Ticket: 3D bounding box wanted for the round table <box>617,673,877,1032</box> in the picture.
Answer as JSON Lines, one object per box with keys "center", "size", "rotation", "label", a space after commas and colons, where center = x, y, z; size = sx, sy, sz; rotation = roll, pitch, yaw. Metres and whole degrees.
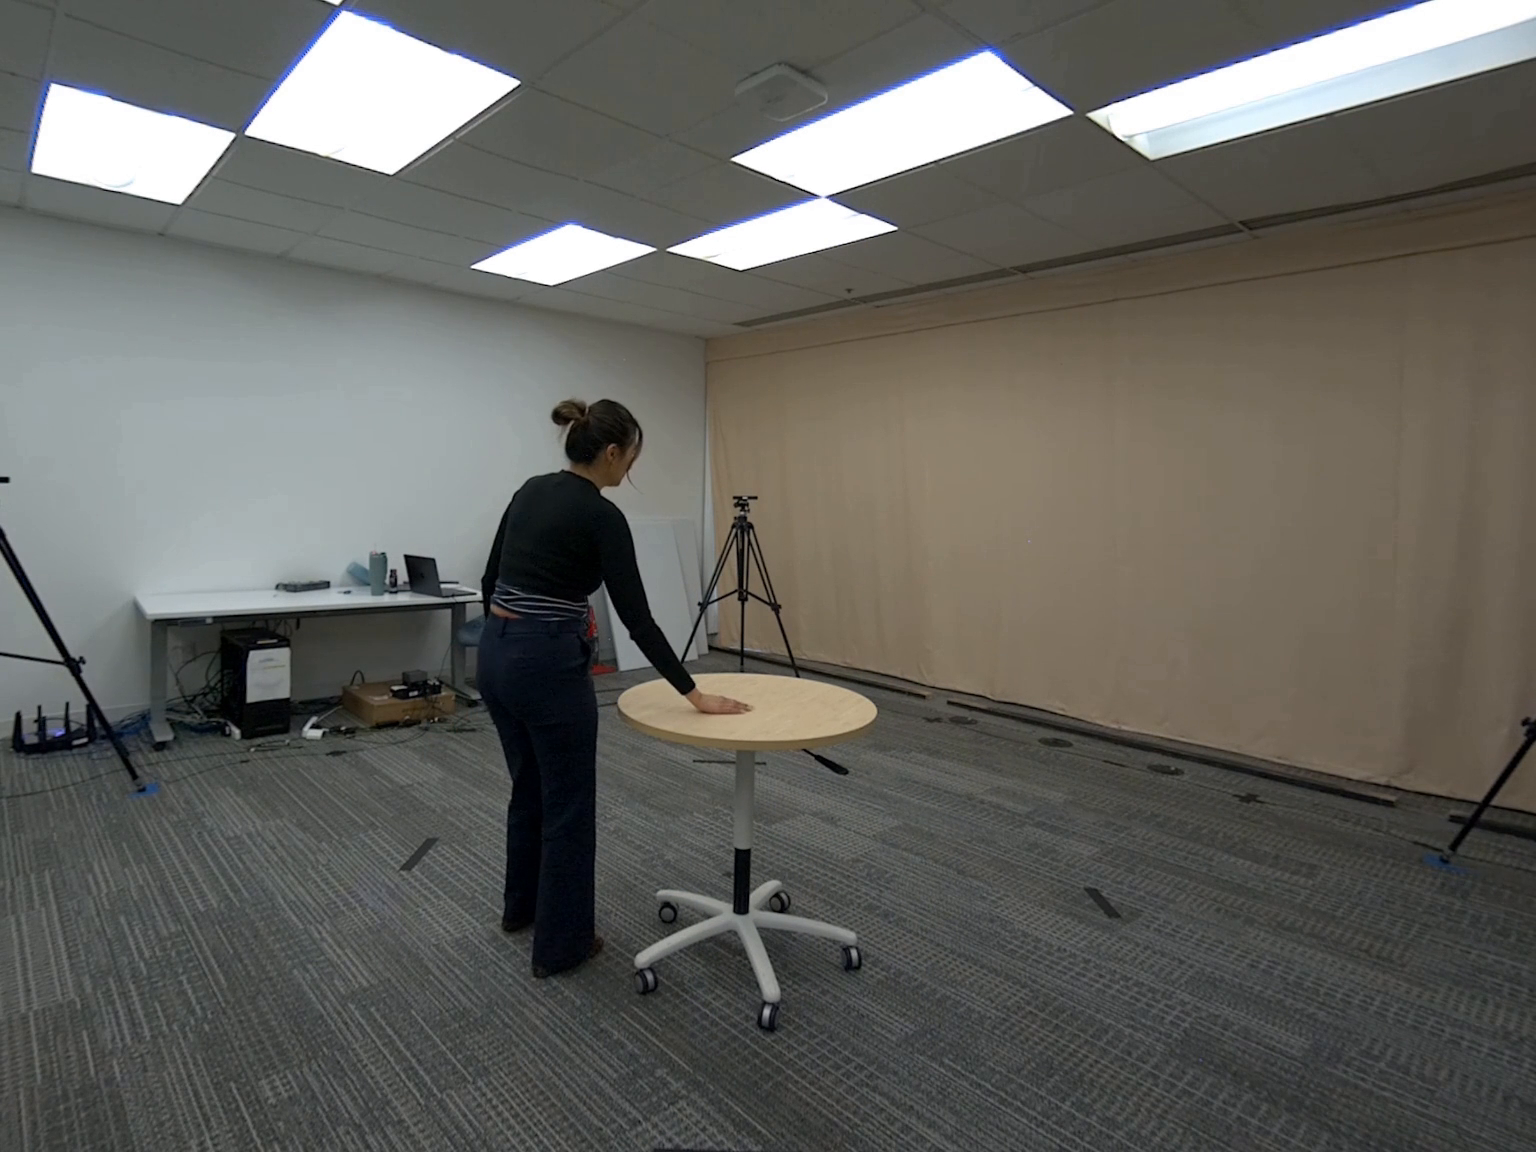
{"center": [-0.080, 0.768, 2.531], "size": [0.763, 0.792, 0.767], "rotation": [2, 4, -1], "label": "round table"}
